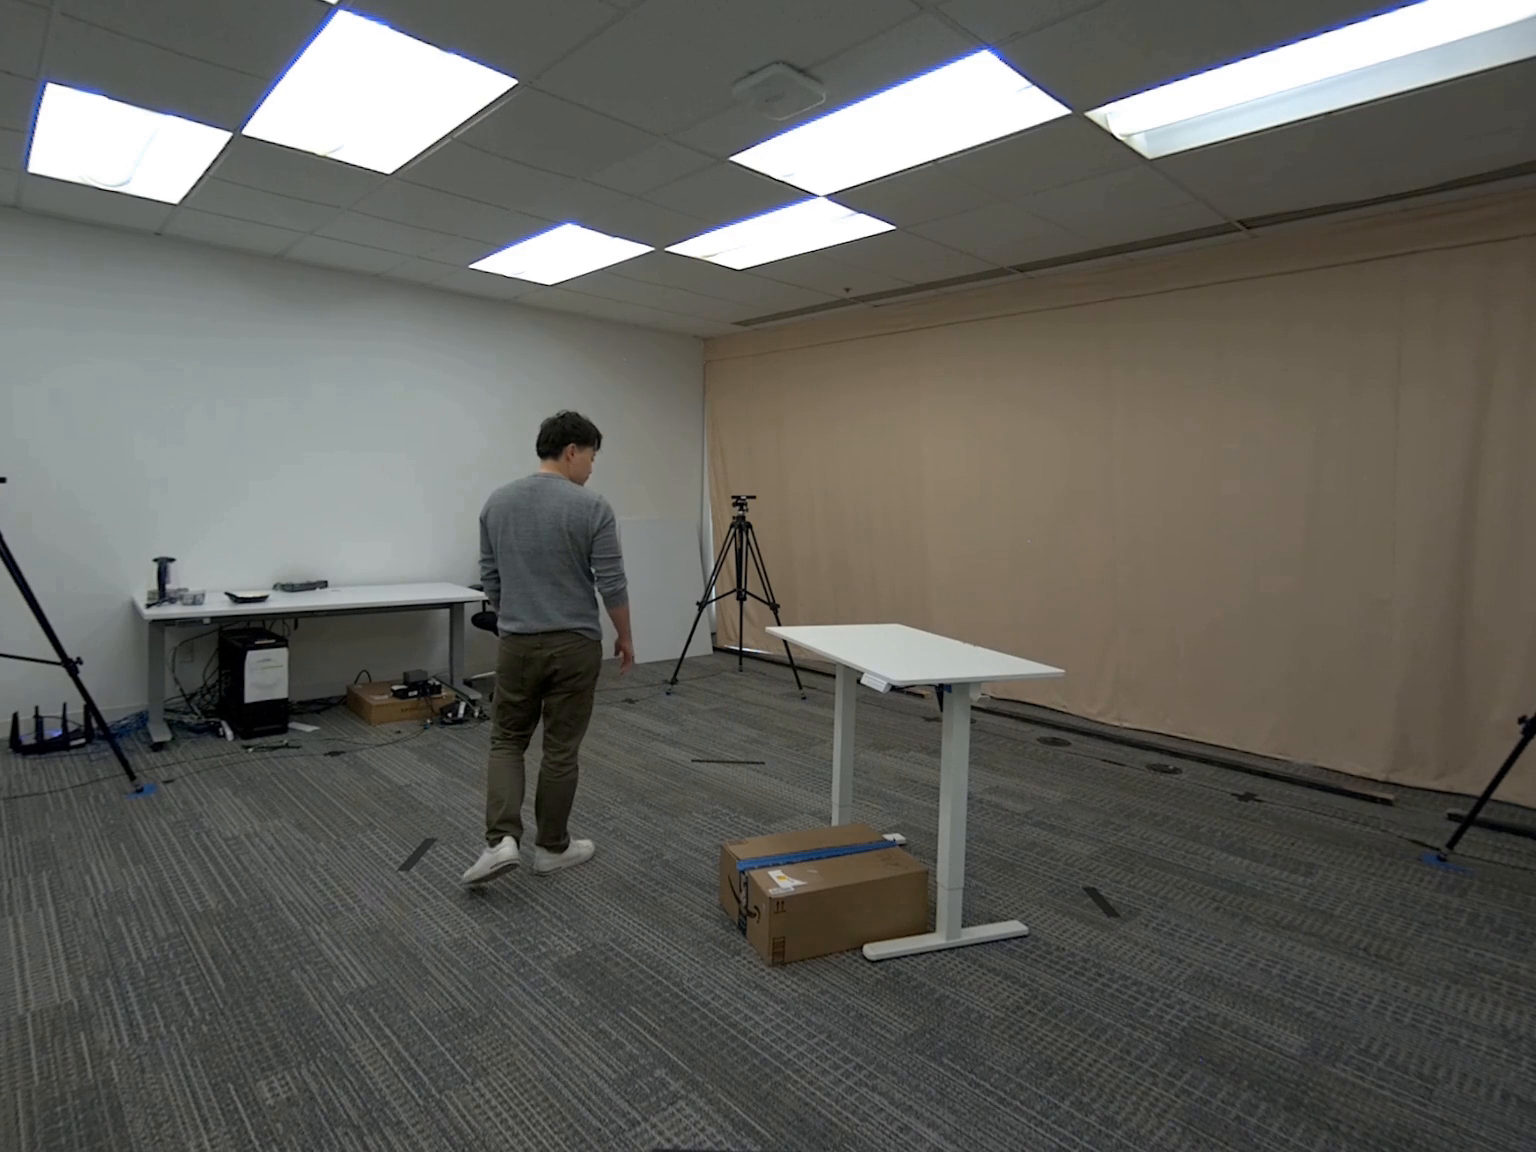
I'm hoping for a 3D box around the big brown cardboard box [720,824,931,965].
[{"bbox_3d":[0.167,1.026,2.777,0.579,0.232,0.426,0,5,-23],"label":"big brown cardboard box"}]
